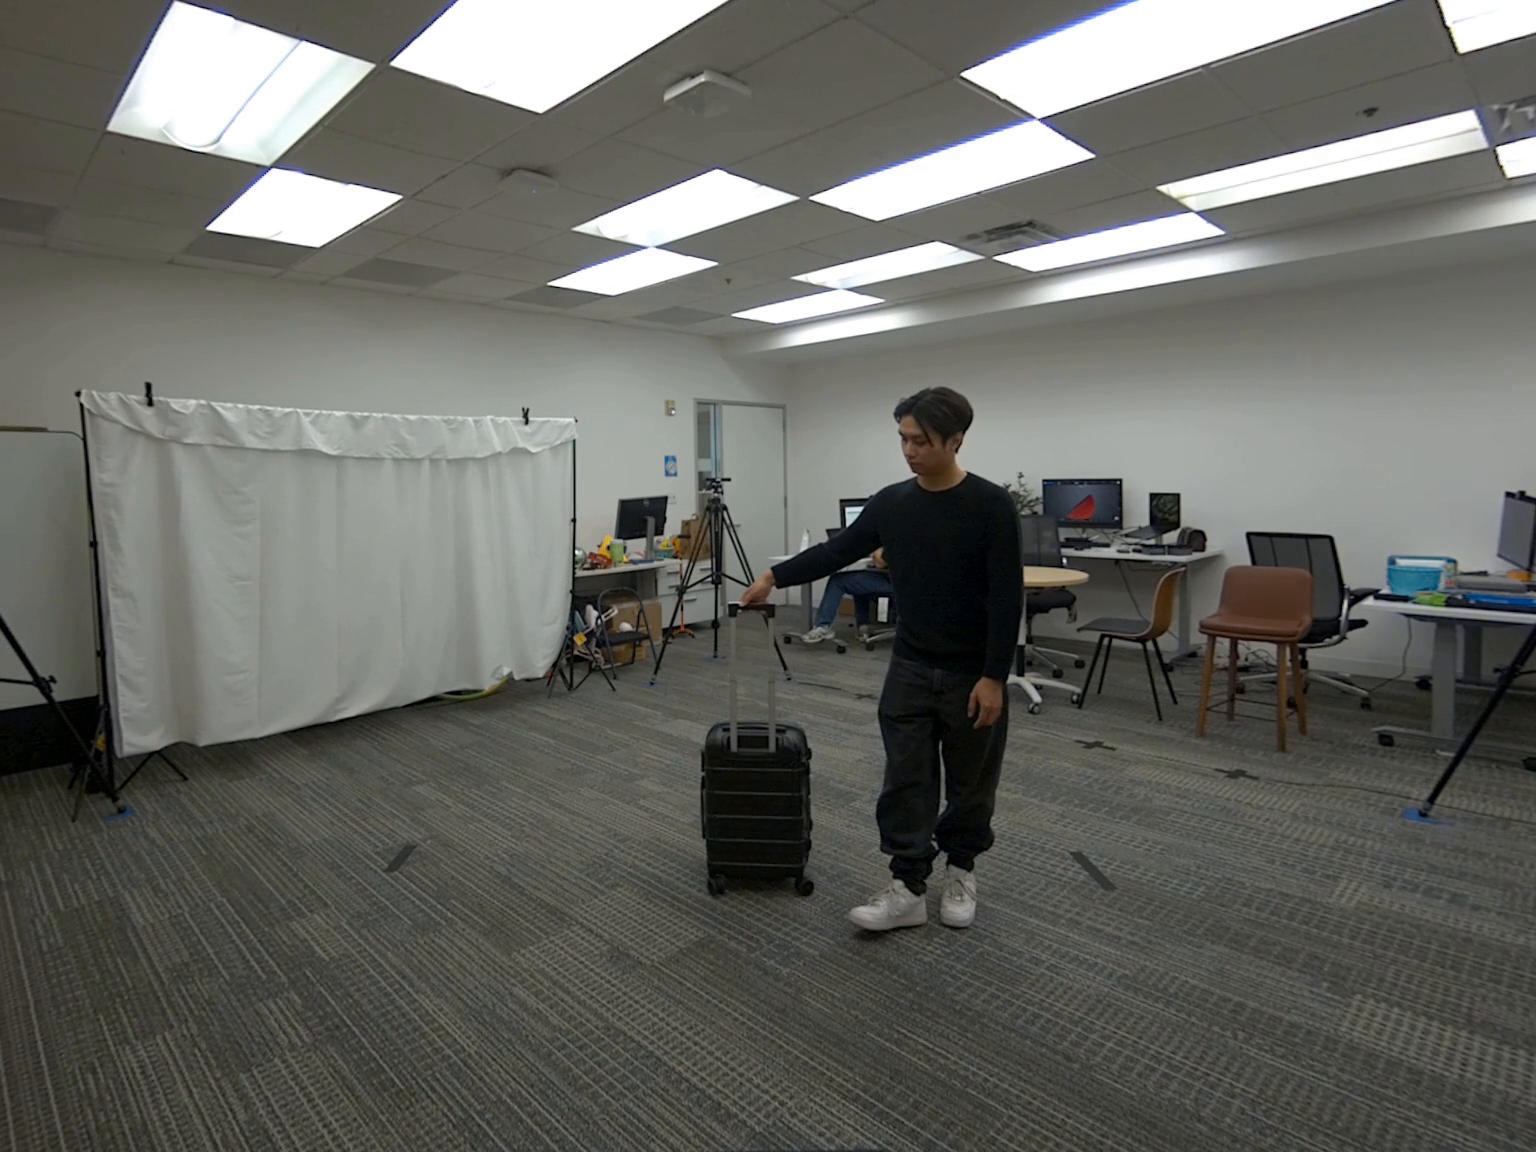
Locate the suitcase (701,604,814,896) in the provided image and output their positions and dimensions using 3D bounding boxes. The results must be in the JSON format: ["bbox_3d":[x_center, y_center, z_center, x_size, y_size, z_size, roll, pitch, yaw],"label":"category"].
[{"bbox_3d":[-0.042,0.581,2.972,0.386,0.977,0.256,-1,2,5],"label":"suitcase"}]
